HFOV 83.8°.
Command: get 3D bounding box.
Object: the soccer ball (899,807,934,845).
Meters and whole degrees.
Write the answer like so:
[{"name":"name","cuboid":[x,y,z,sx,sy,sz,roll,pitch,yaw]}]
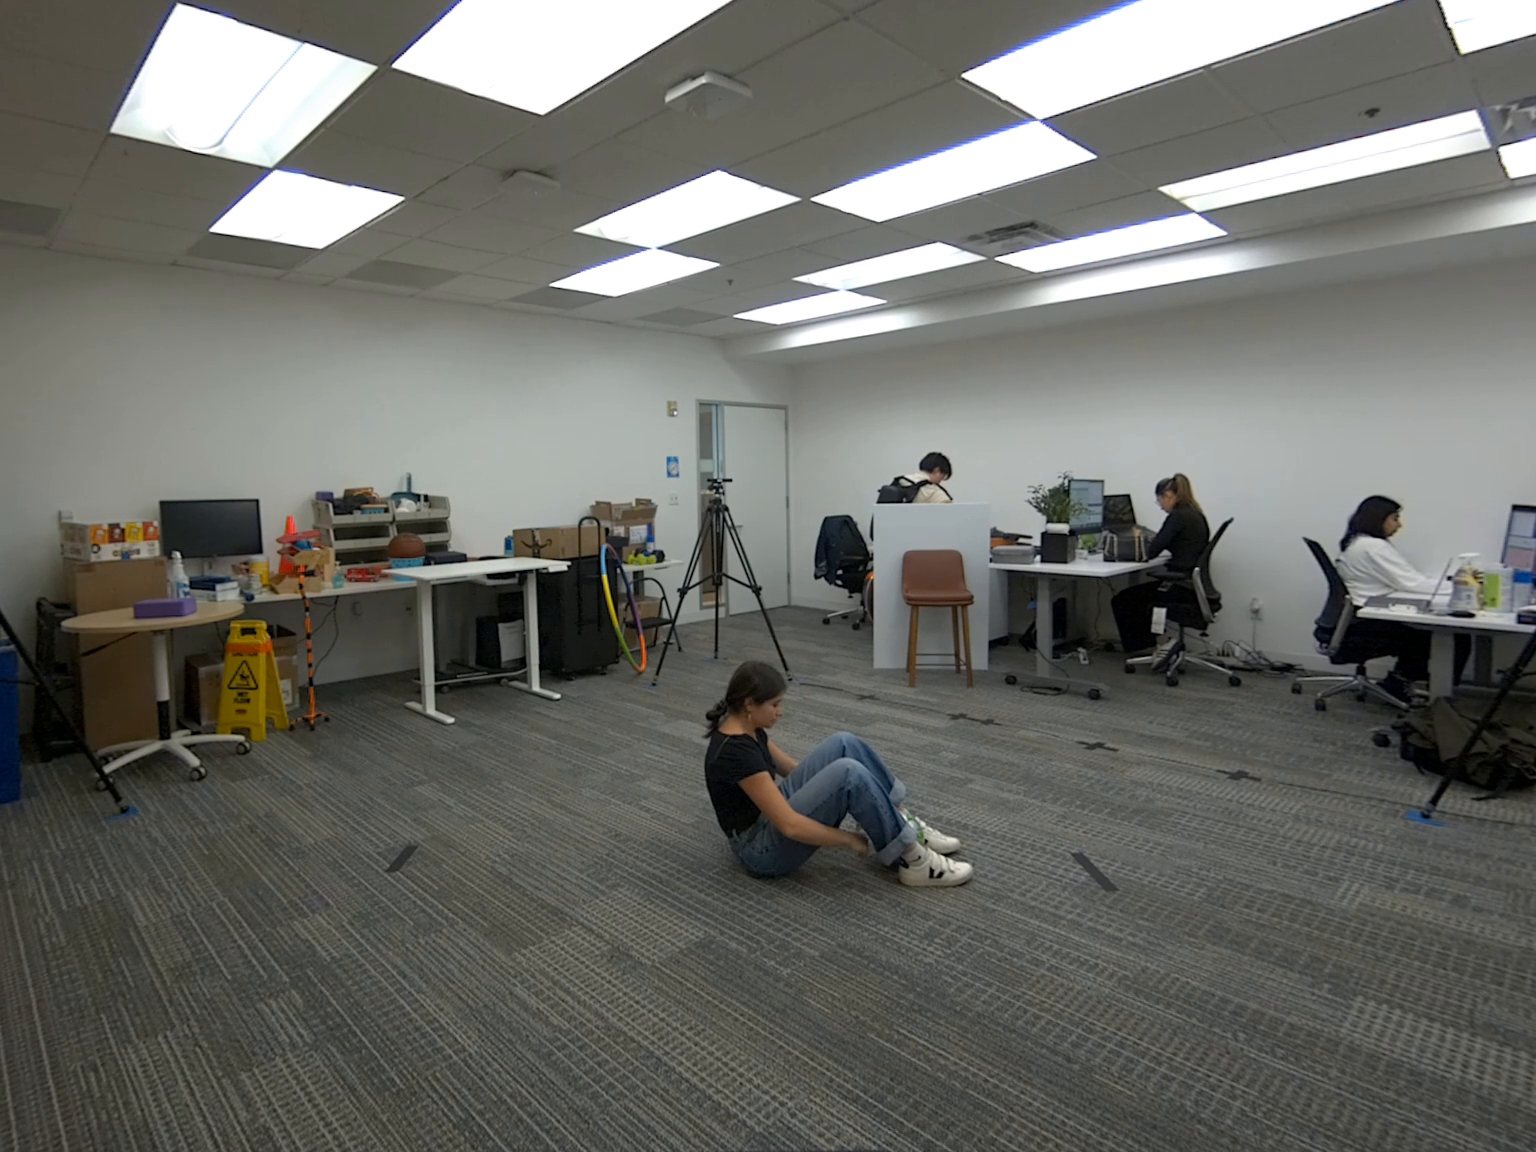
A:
[{"name":"soccer ball","cuboid":[0.456,0.942,3.074,0.187,0.187,0.188,0,1,-2]}]
